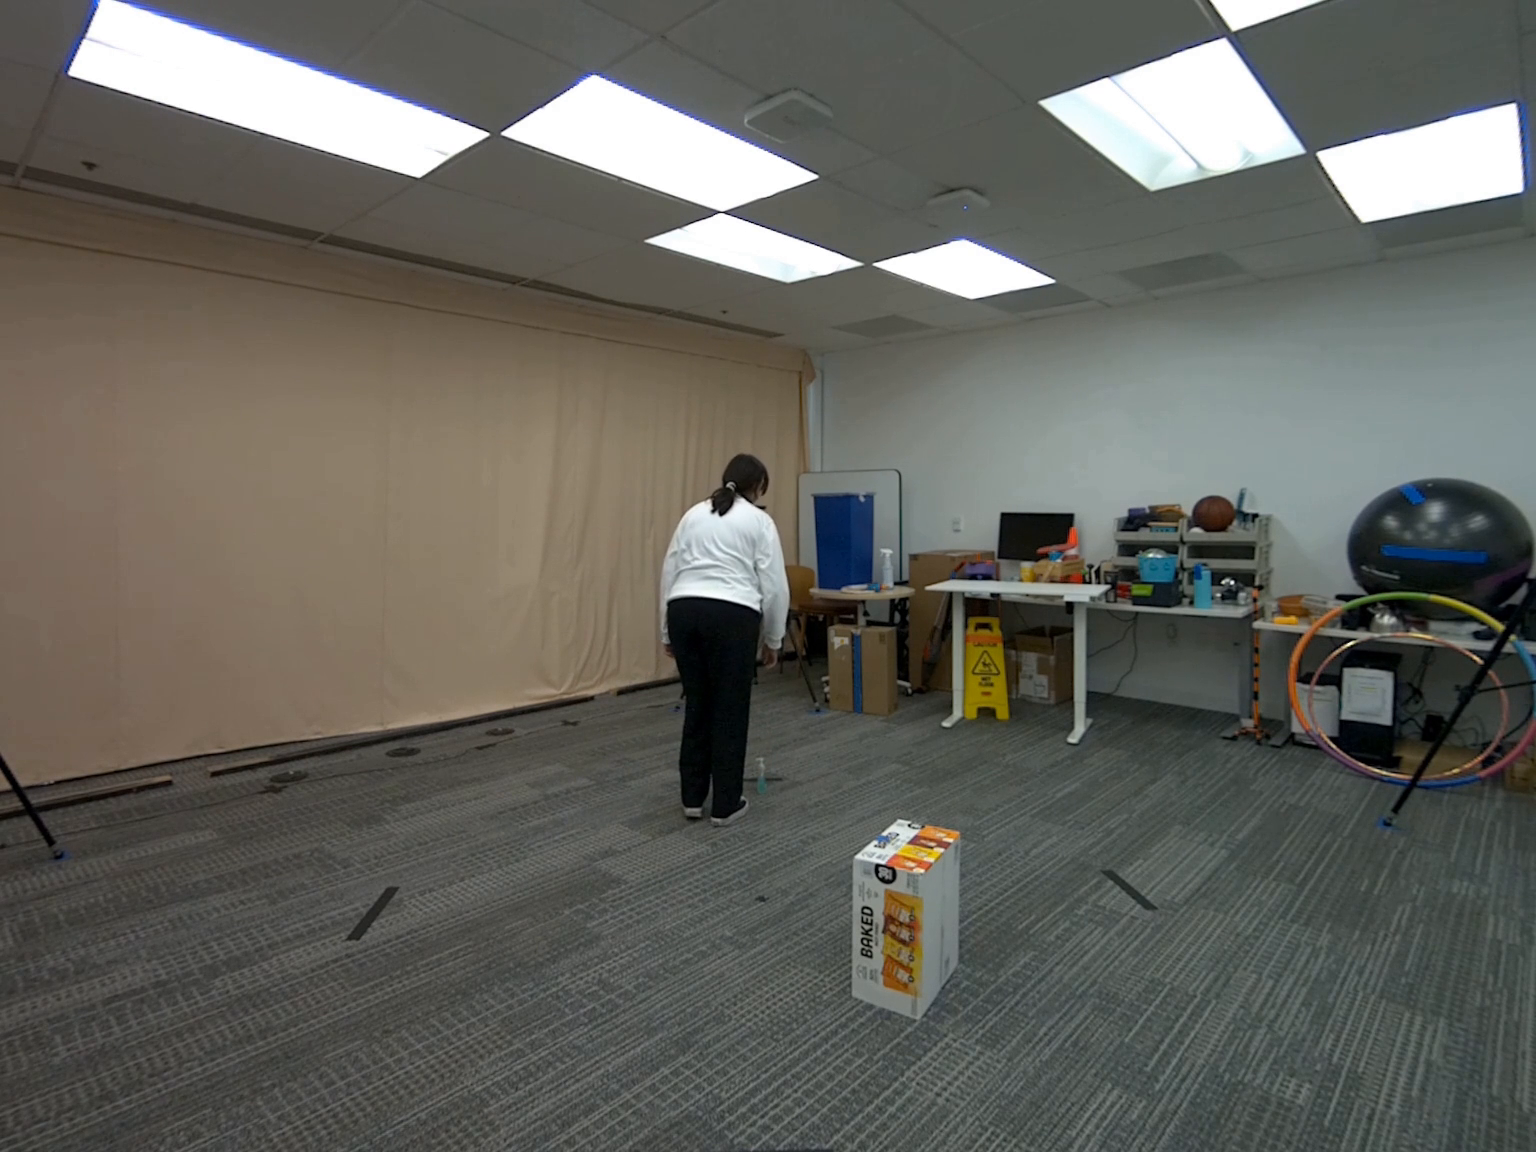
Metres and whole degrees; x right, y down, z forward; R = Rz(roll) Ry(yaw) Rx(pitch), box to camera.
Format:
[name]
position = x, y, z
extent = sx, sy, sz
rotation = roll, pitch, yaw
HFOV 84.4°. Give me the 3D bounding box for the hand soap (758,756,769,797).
[hand soap]
position = -0.025, 0.971, 4.116
extent = 0.043, 0.168, 0.085
rotation = 1, 4, -1
